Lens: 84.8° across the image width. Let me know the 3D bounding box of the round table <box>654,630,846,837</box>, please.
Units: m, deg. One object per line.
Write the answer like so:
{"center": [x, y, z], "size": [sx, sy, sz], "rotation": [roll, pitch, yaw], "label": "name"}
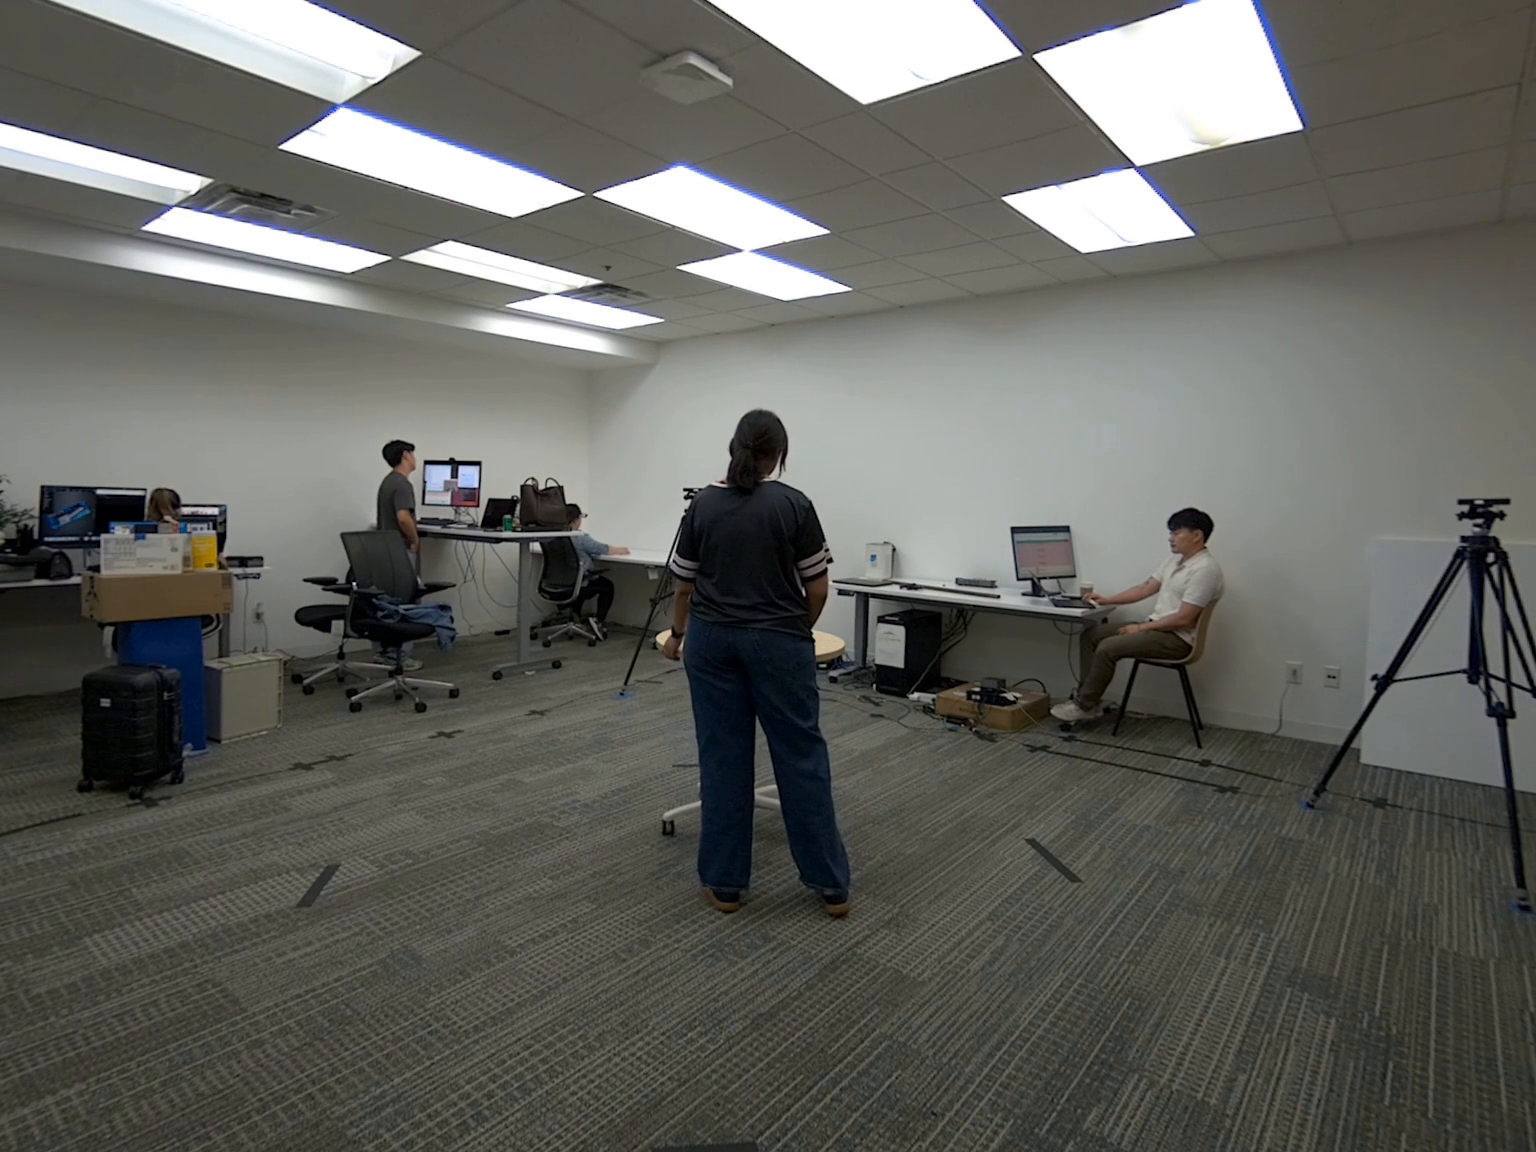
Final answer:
{"center": [-0.088, 0.644, 3.485], "size": [0.763, 0.791, 0.768], "rotation": [1, 5, -2], "label": "round table"}
